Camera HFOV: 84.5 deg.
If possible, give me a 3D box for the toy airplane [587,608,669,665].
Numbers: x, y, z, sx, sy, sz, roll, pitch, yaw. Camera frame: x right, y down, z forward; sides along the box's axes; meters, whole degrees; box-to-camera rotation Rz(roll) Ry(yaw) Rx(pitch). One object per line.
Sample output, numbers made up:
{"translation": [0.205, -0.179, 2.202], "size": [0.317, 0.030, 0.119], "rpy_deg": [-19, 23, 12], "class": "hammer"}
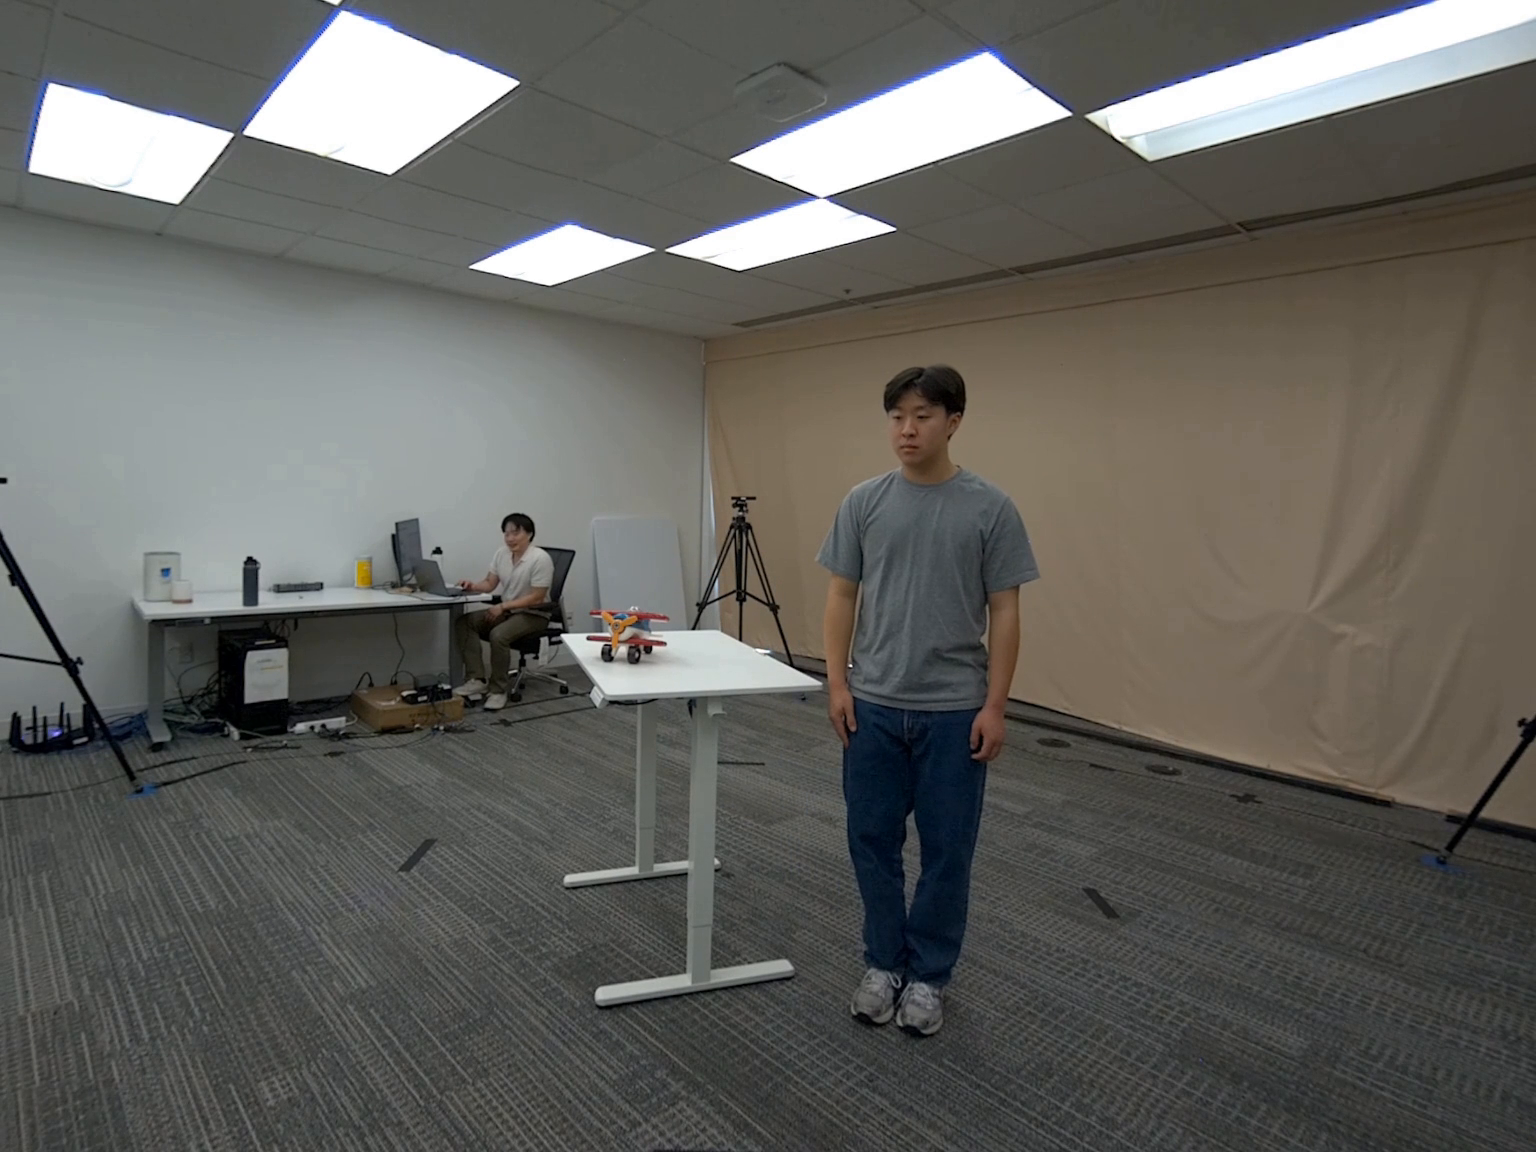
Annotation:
{"translation": [-0.450, 0.182, 2.636], "size": [0.248, 0.156, 0.263], "rpy_deg": [1, 6, -13], "class": "toy airplane"}
